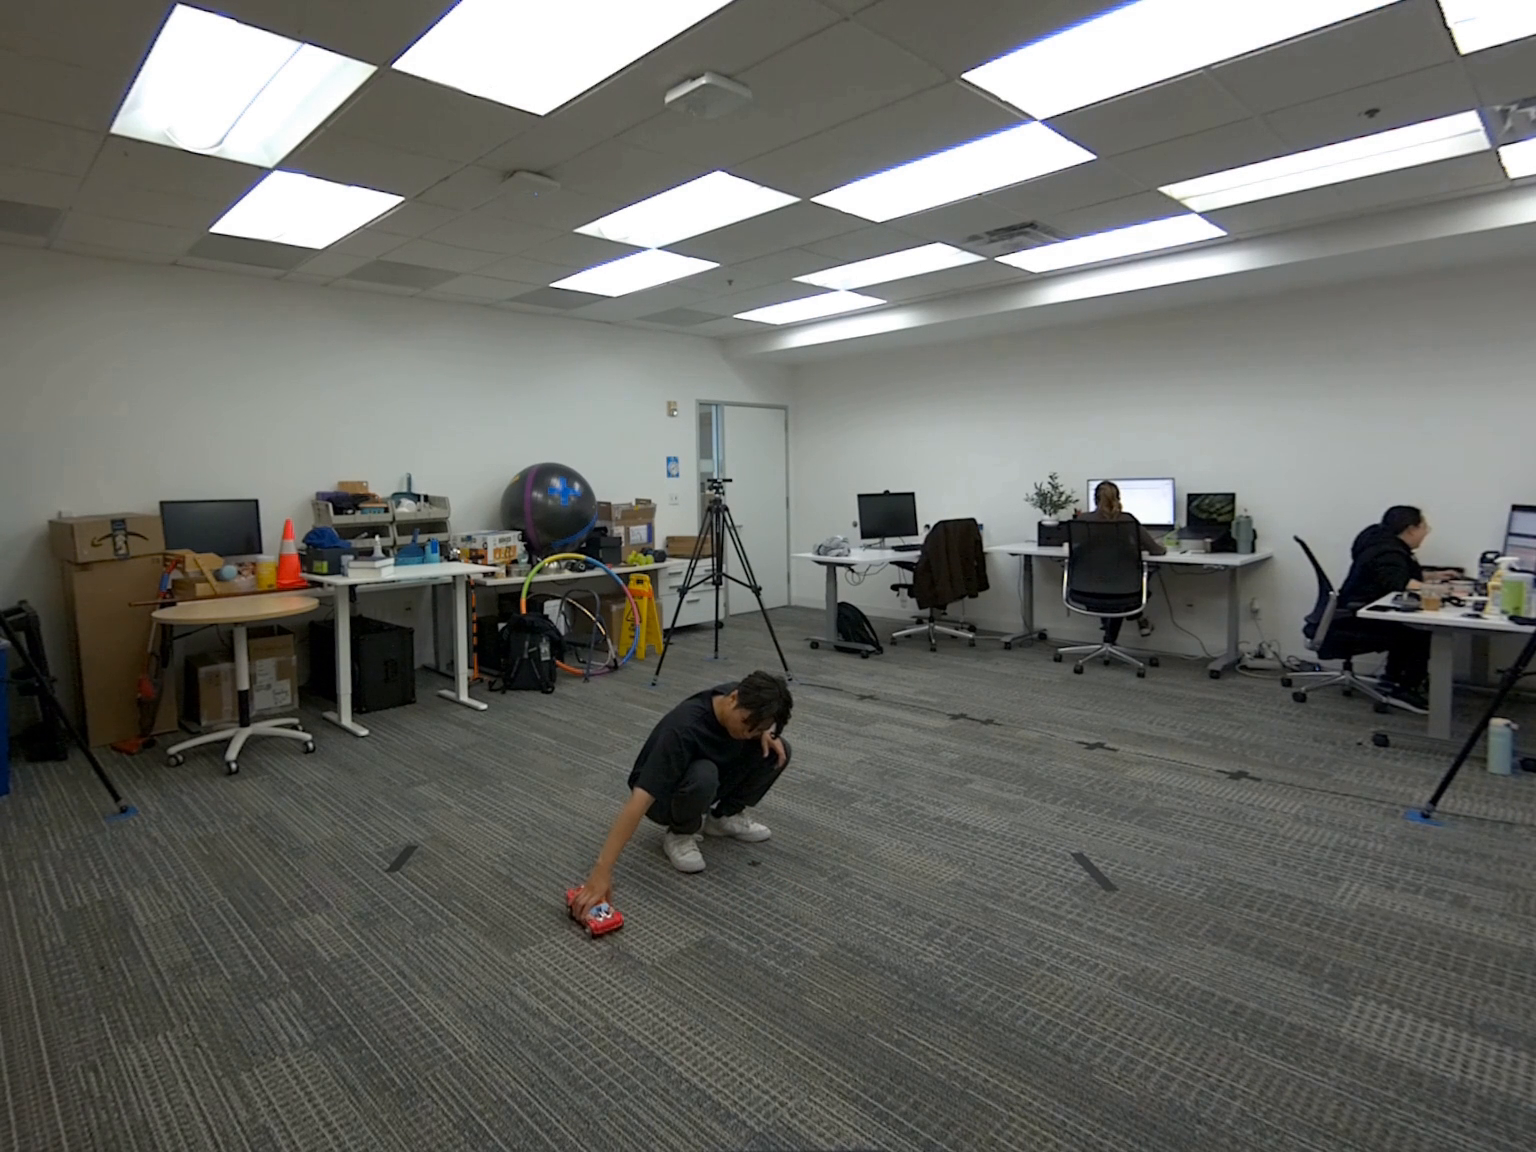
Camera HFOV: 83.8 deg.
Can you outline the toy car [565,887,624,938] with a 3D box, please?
[{"bbox_3d":[-0.563,1.066,2.732,0.127,0.082,0.264,-4,18,-29],"label":"toy car"}]
